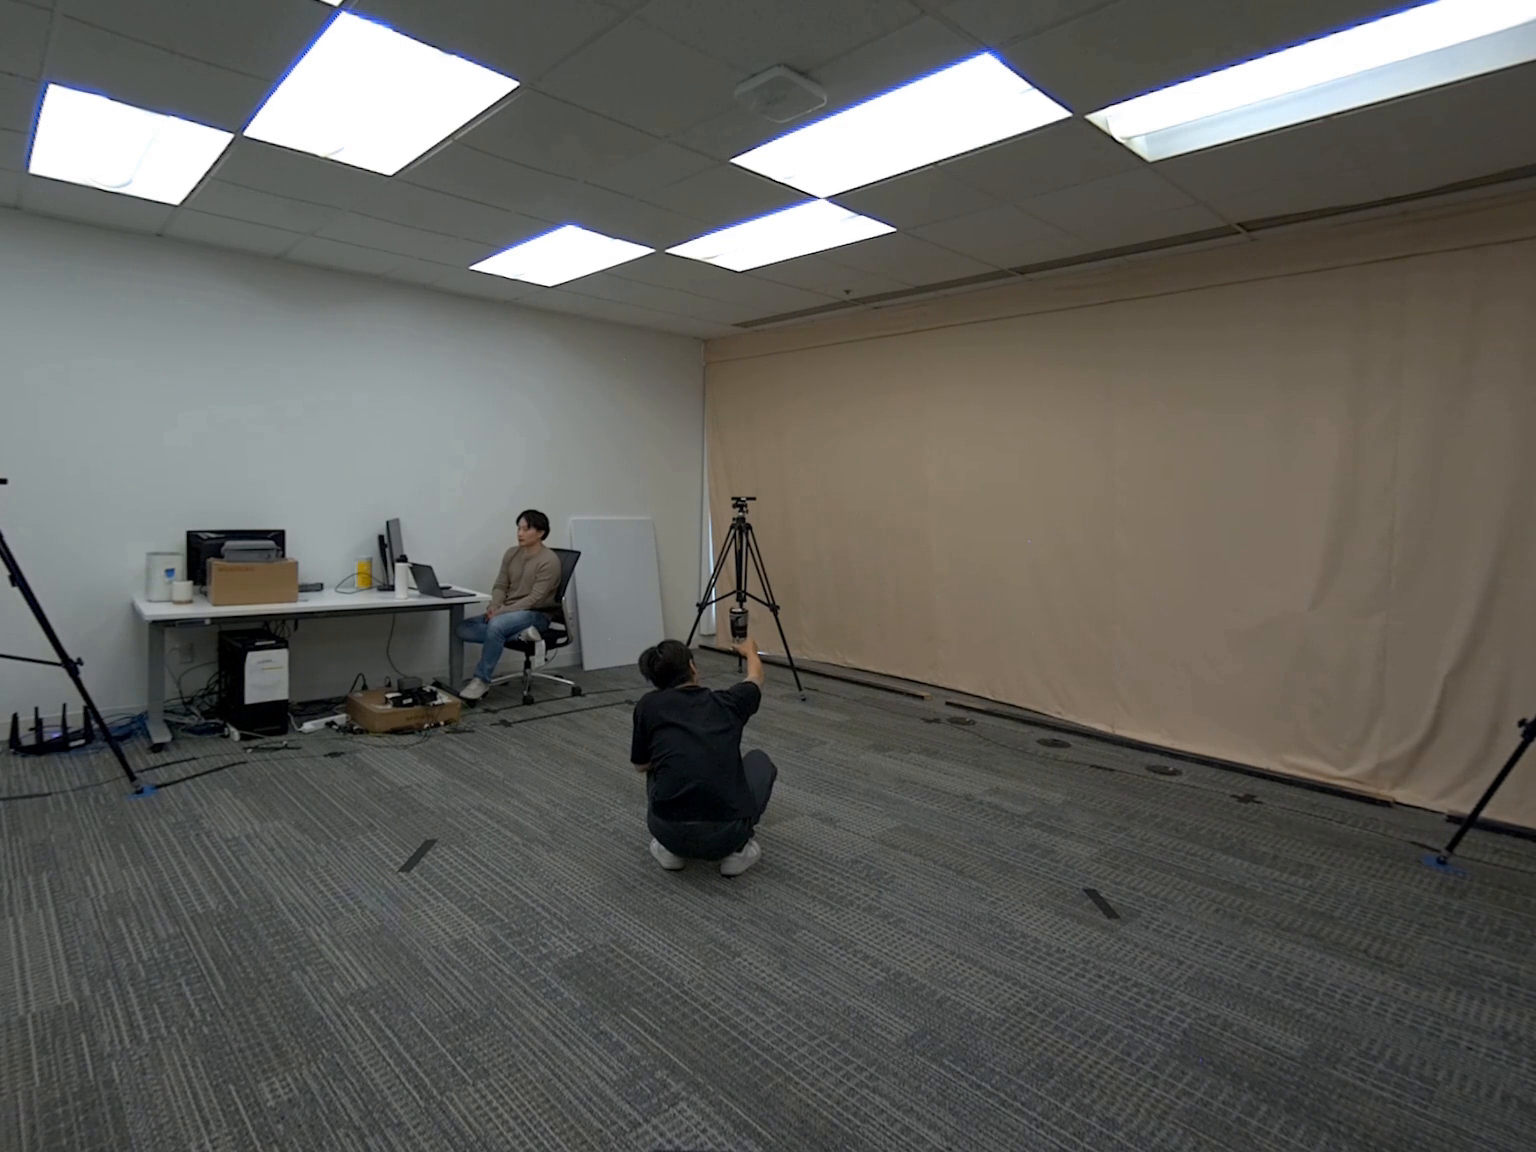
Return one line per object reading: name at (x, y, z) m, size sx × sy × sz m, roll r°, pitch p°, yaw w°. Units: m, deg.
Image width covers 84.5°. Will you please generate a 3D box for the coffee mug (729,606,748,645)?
coffee mug at (-0.162, 0.259, 3.842) m, size 0.090 × 0.201 × 0.119 m, roll 13°, pitch 16°, yaw 41°
